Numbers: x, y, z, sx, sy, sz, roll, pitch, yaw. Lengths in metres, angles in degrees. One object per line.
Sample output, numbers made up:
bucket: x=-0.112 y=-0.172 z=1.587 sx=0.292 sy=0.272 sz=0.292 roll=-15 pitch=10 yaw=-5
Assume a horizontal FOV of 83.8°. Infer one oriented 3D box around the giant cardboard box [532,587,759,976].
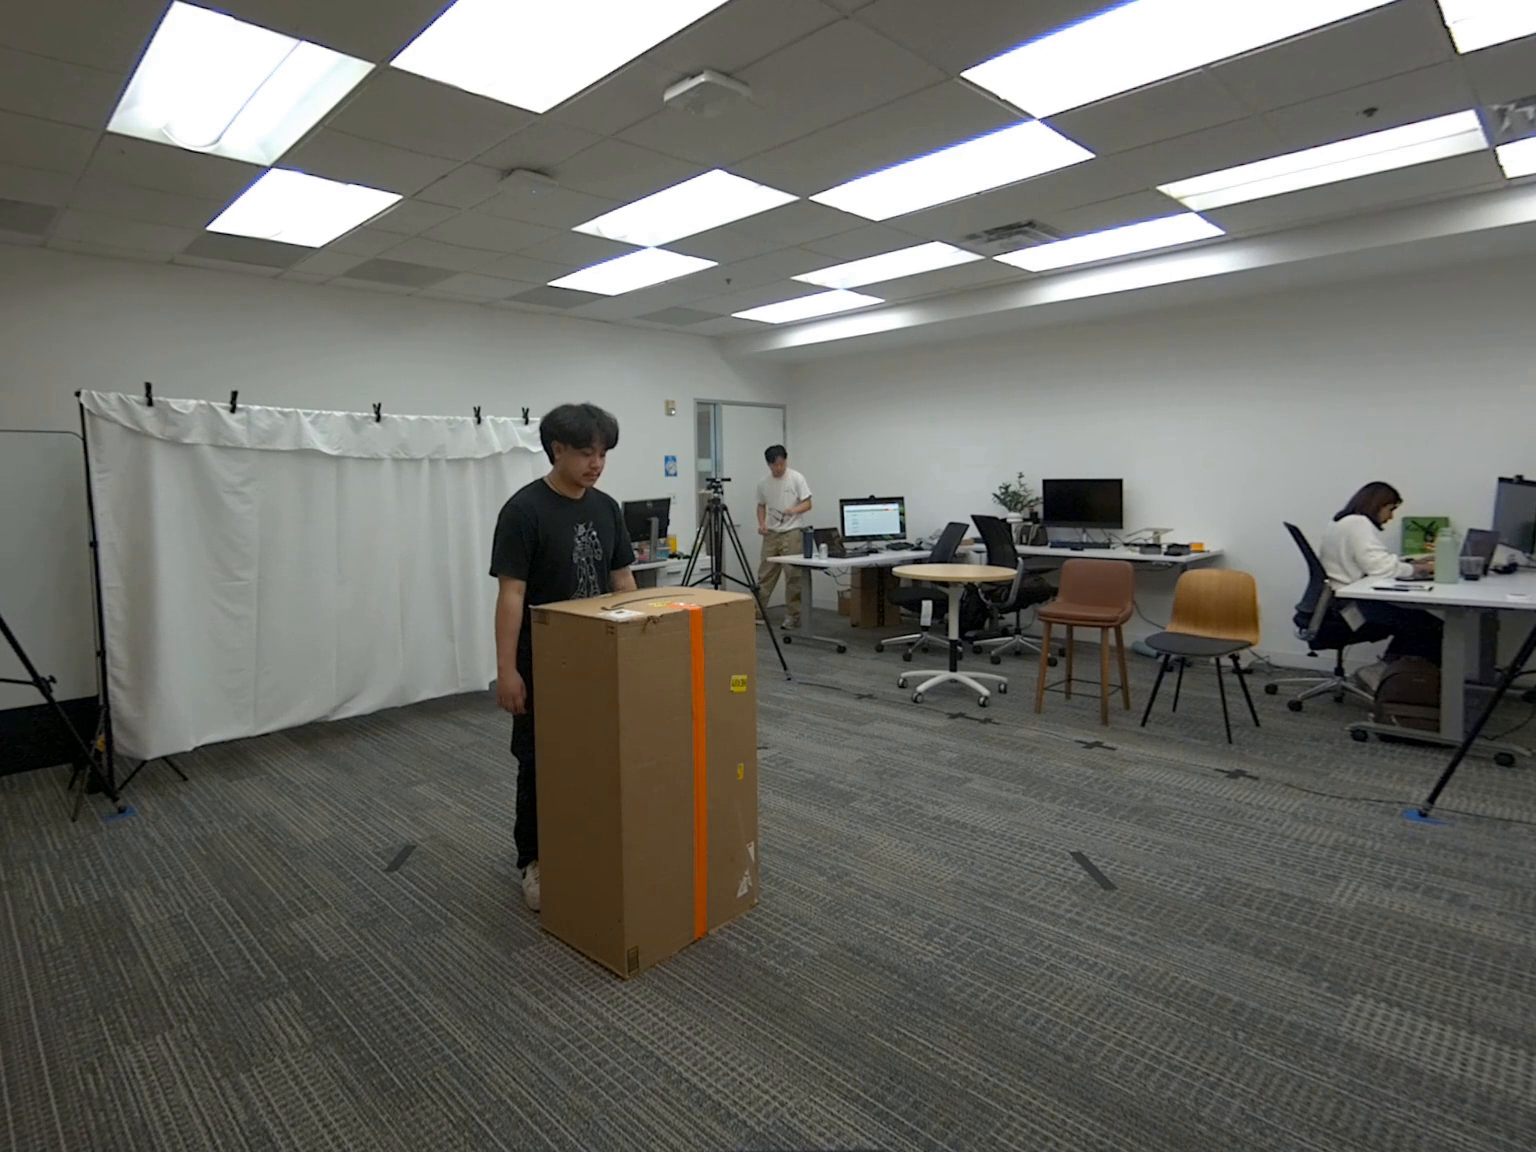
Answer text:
giant cardboard box: x=-0.374 y=0.585 z=2.706 sx=0.461 sy=1.023 sz=0.568 roll=4 pitch=7 yaw=43
